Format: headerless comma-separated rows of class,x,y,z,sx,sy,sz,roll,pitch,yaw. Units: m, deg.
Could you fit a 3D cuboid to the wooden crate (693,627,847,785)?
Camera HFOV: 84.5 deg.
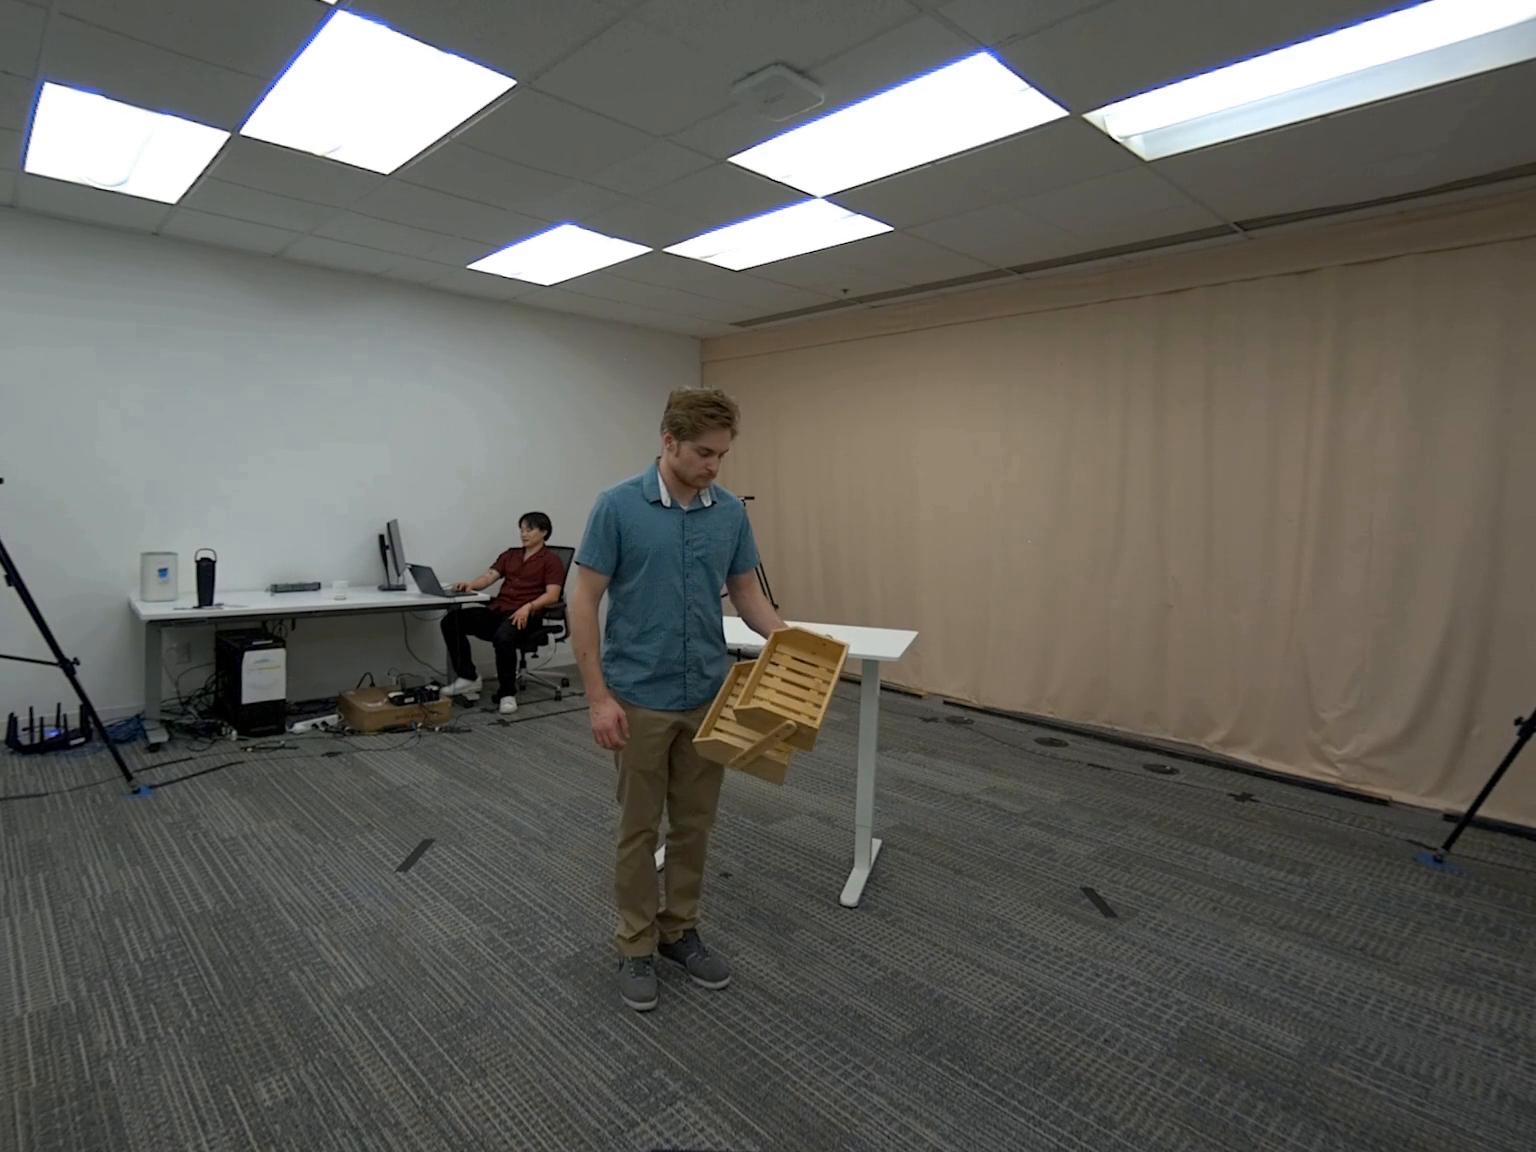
wooden crate,0.007,0.308,2.169,0.305,0.269,0.326,16,33,10
